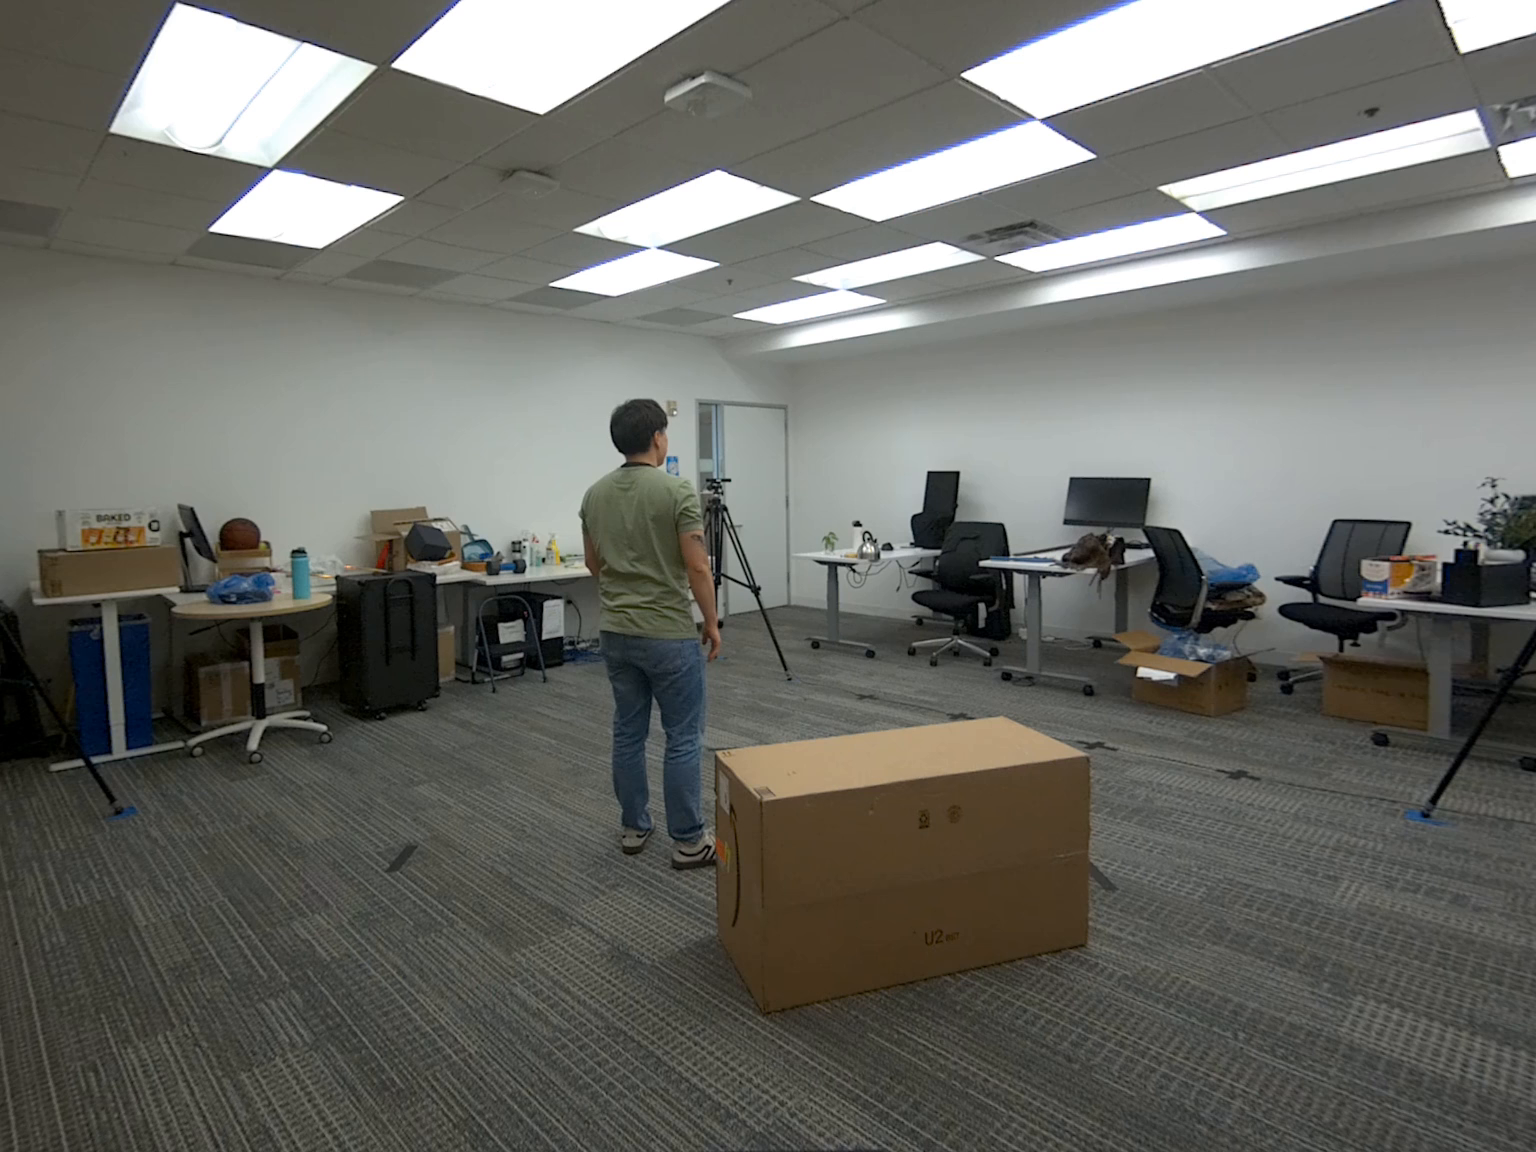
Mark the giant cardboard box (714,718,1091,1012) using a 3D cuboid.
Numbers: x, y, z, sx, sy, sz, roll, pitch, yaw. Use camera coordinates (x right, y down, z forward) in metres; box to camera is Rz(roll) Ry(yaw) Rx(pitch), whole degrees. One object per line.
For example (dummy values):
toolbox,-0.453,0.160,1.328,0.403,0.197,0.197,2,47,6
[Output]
giant cardboard box,0.391,0.808,2.557,1.010,0.575,0.435,-3,5,-18
